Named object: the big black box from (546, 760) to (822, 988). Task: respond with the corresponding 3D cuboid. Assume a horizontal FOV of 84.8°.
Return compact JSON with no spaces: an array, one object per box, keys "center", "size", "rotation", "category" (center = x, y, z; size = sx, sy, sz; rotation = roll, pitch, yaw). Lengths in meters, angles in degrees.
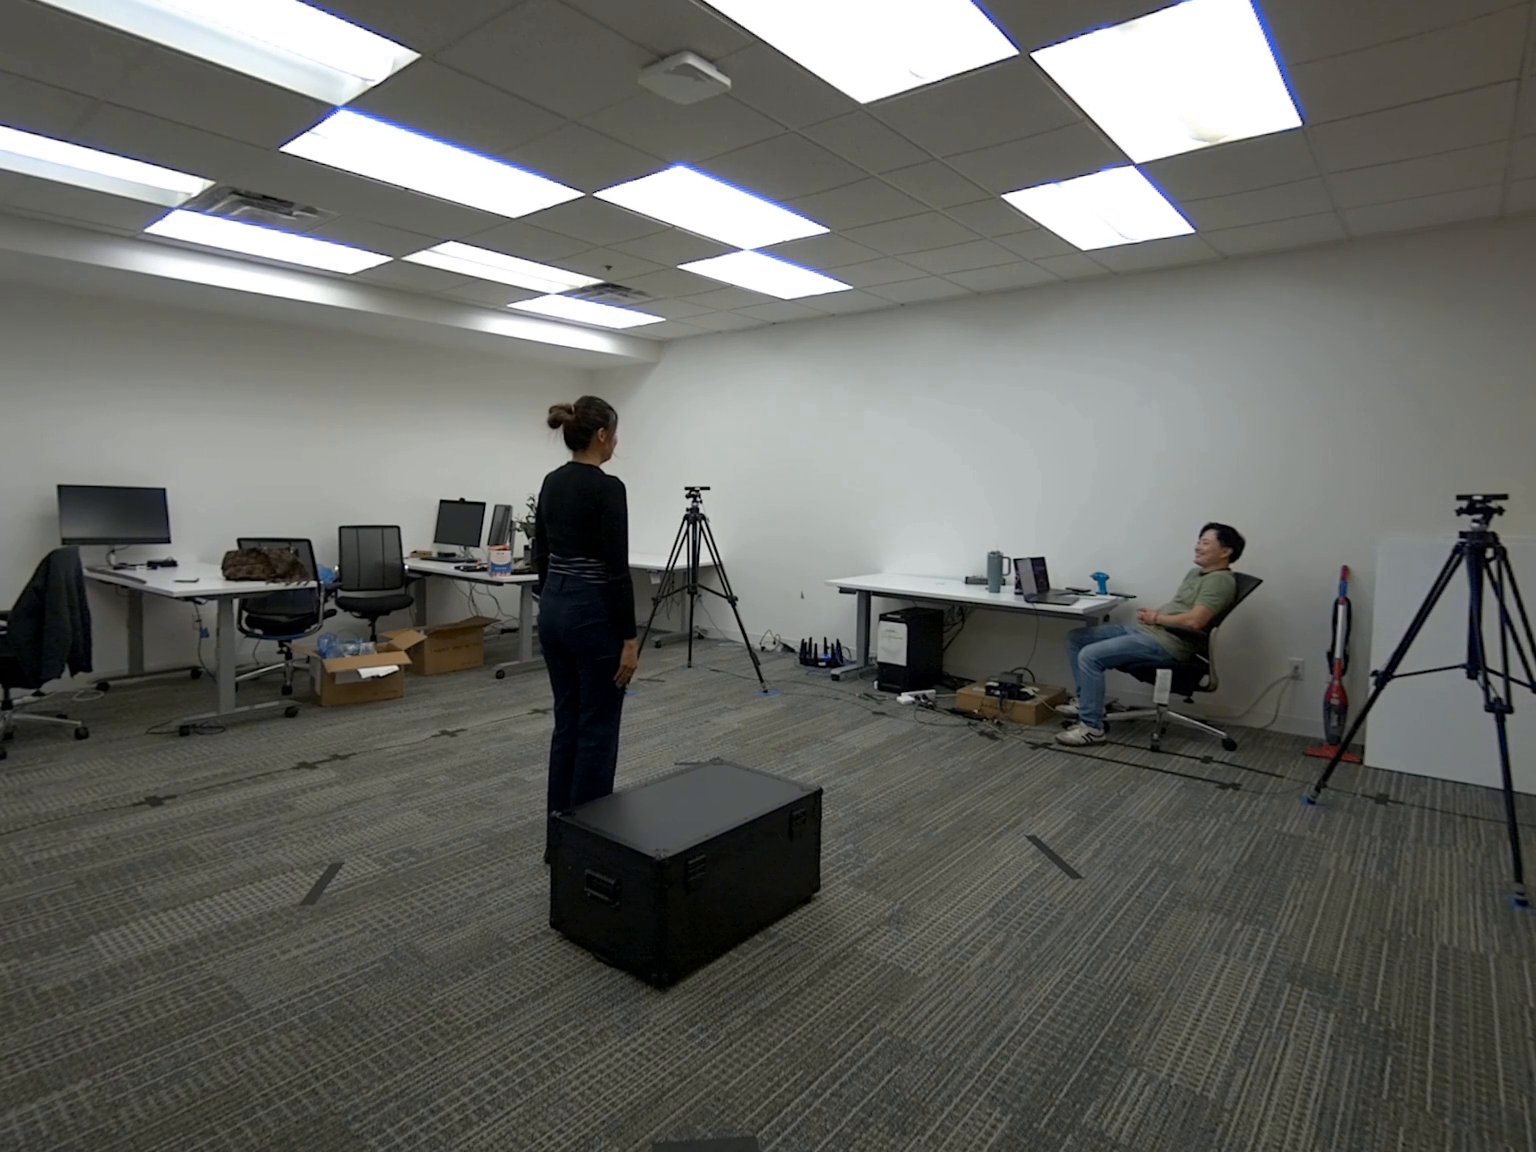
[{"center":[-0.270,0.910,2.737],"size":[0.538,0.395,0.836],"rotation":[4,5,39],"category":"big black box"}]
